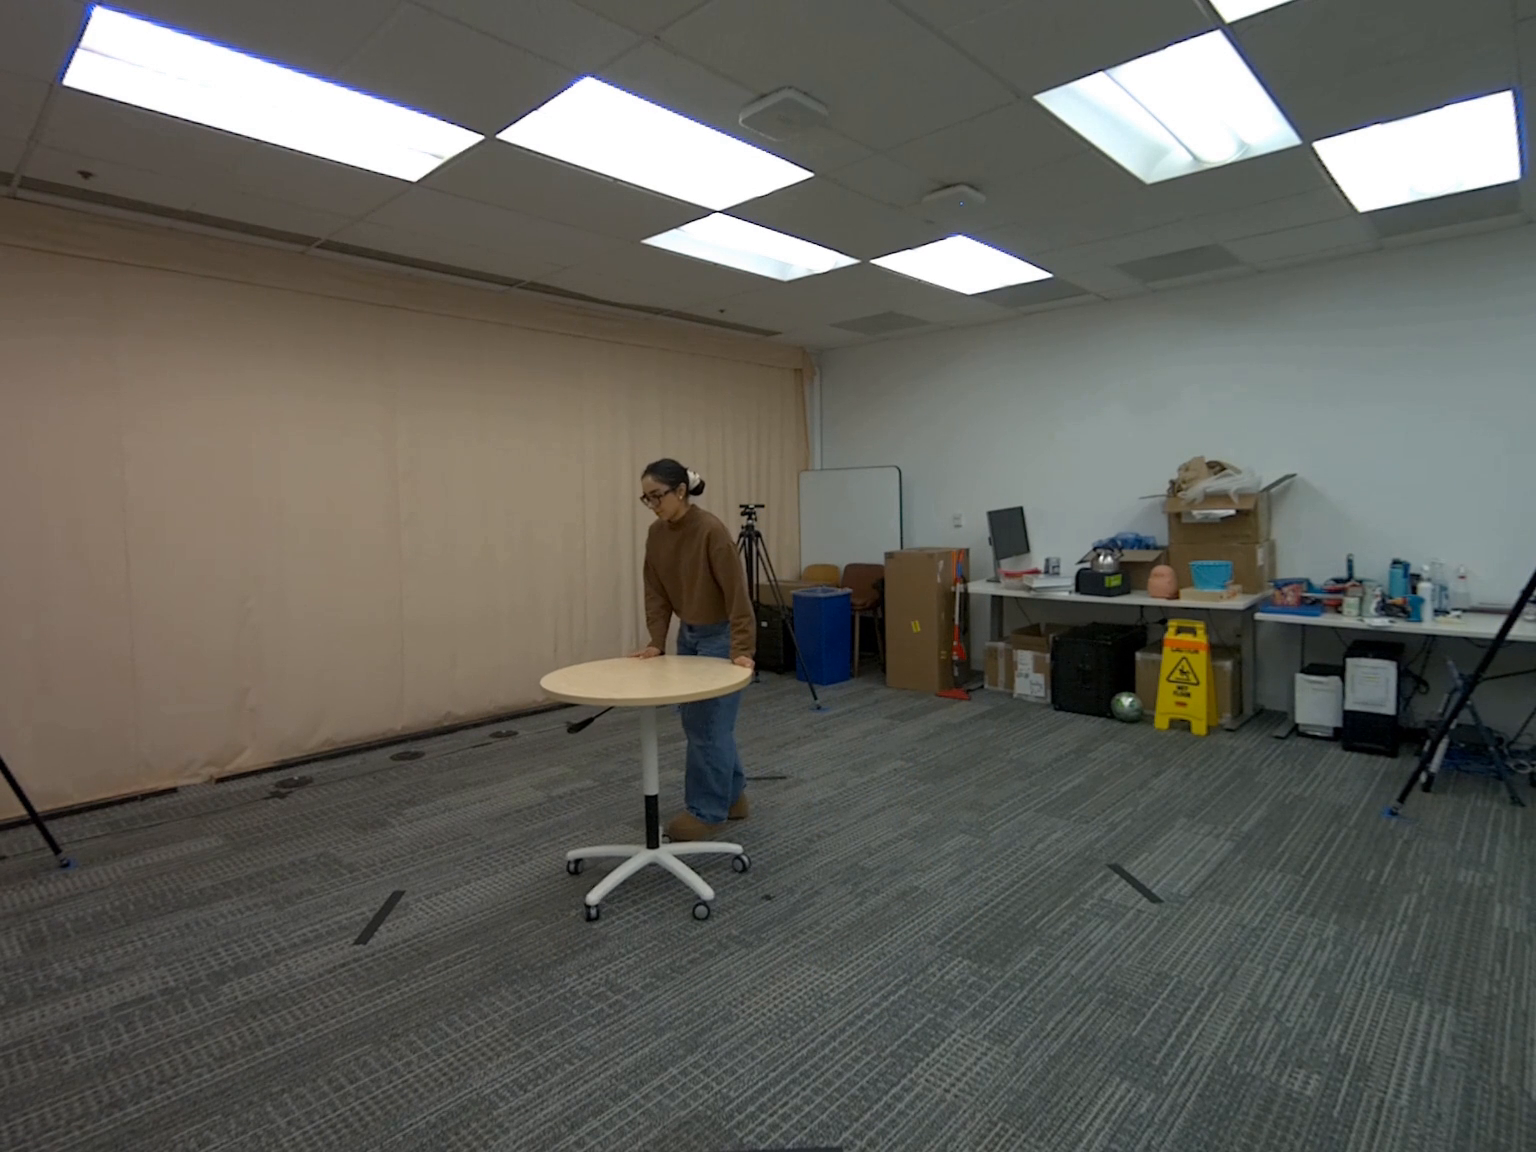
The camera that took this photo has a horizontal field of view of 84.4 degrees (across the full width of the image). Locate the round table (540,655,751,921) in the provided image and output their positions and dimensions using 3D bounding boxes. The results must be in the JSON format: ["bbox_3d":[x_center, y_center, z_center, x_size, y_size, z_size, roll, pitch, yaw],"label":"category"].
[{"bbox_3d":[-0.440,0.745,3.079,0.784,0.785,0.787,-2,3,-2],"label":"round table"}]
